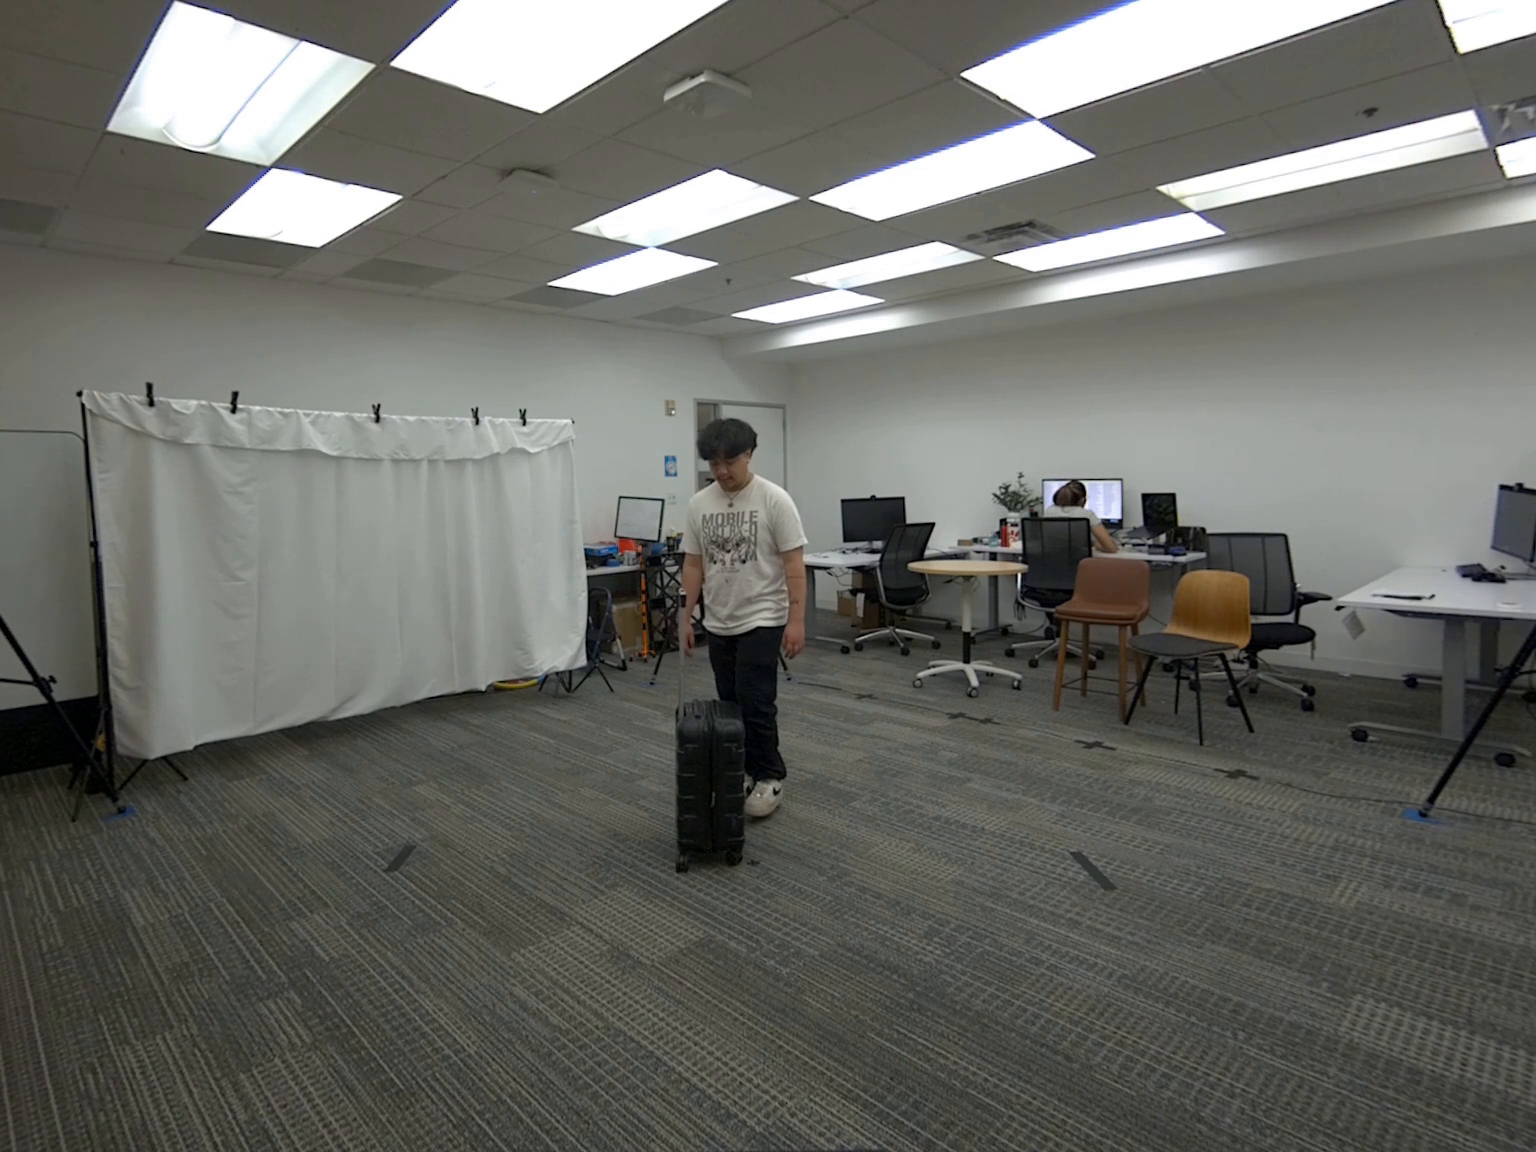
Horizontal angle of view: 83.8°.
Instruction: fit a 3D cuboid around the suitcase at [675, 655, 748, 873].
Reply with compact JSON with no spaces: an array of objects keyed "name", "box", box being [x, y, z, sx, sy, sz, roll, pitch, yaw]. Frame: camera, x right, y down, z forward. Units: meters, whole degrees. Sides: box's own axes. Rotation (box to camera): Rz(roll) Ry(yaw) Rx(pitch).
[{"name":"suitcase","box":[-0.223,0.556,3.202,0.256,0.976,0.387,2,3,-5]}]
